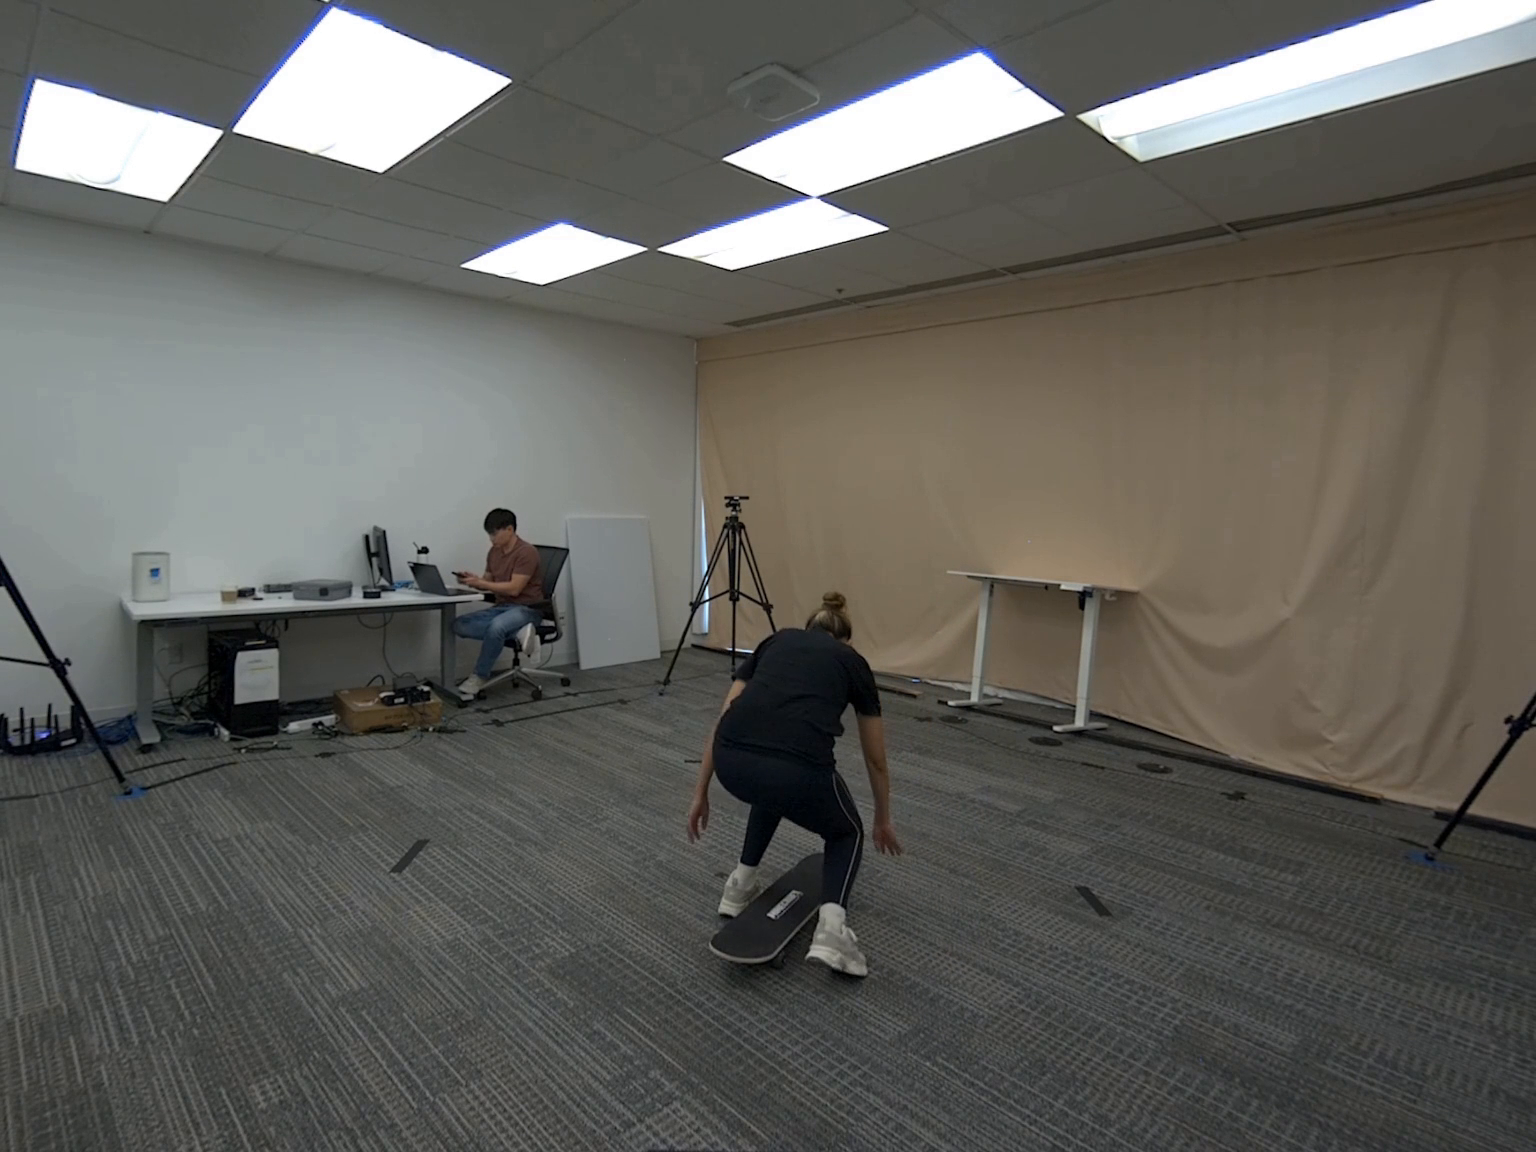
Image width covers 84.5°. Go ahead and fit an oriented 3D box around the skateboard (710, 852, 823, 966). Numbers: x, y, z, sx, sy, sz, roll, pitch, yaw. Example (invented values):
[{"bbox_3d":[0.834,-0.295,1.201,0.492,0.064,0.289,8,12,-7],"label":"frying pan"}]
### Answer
[{"bbox_3d":[0.051,1.086,2.707,0.197,0.110,0.772,4,6,26],"label":"skateboard"}]
